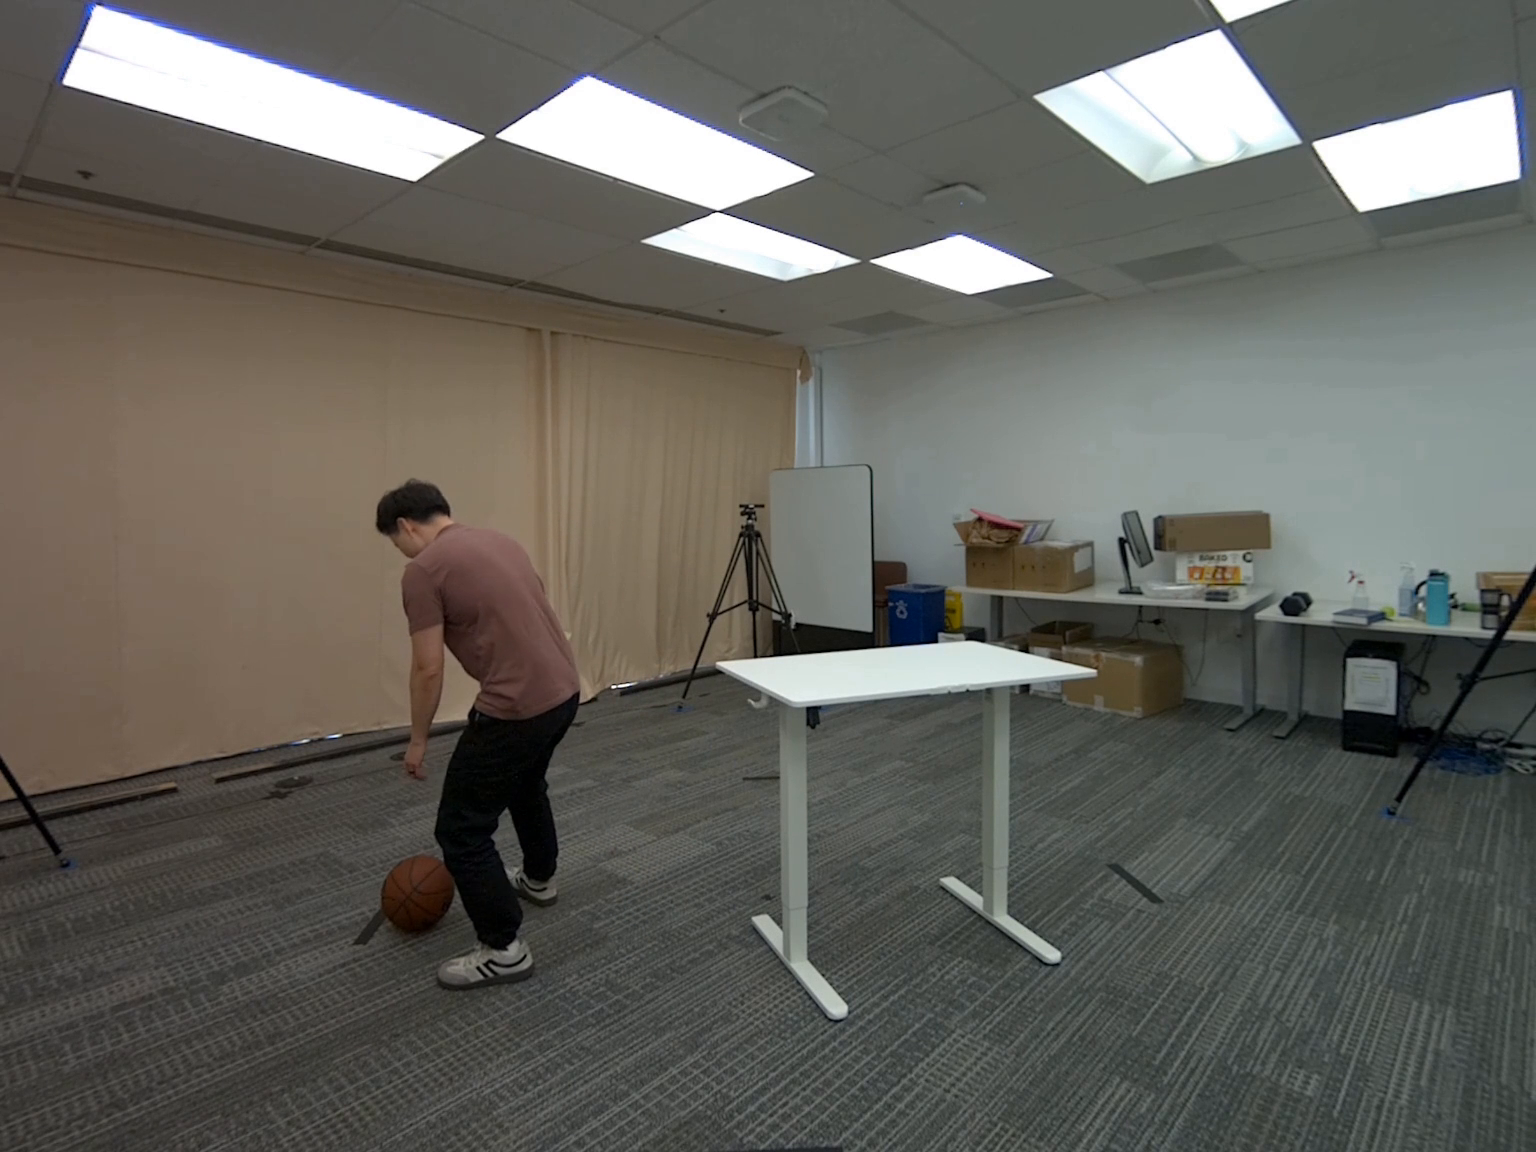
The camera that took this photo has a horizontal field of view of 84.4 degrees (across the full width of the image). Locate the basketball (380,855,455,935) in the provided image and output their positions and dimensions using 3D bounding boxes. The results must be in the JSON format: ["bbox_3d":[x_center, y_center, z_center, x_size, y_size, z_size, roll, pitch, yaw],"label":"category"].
[{"bbox_3d":[-1.177,1.058,2.826,0.236,0.235,0.237,-1,4,-2],"label":"basketball"}]
